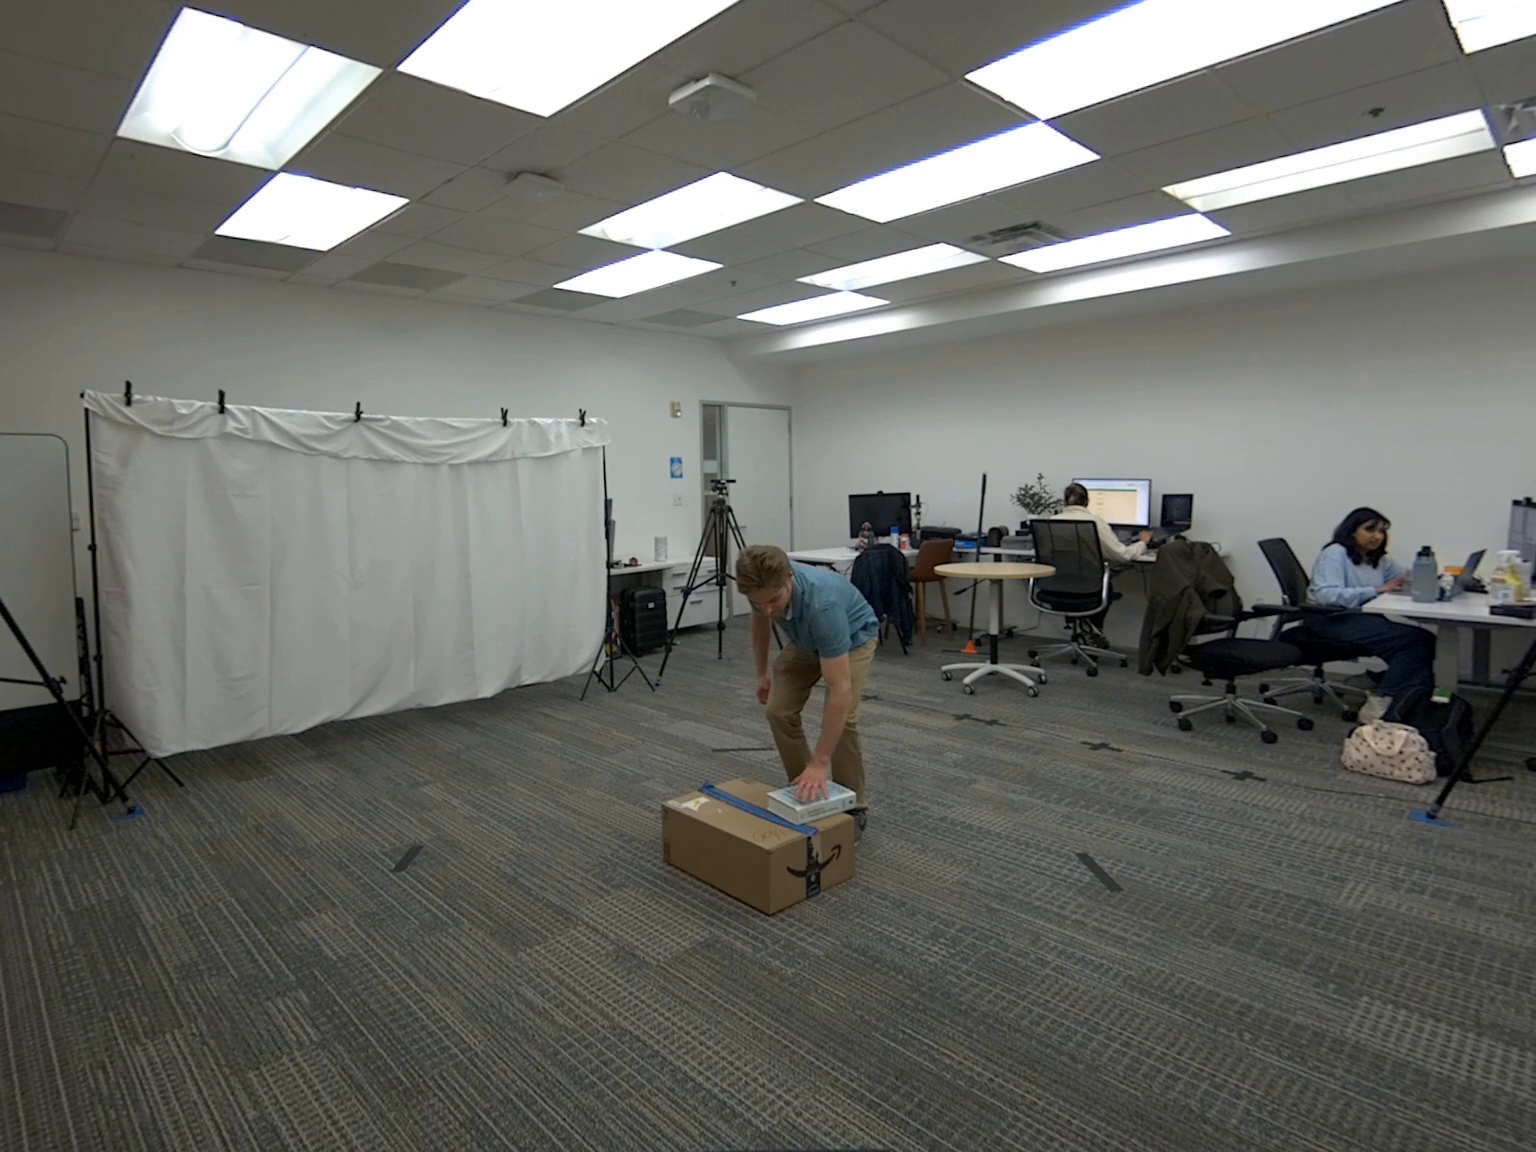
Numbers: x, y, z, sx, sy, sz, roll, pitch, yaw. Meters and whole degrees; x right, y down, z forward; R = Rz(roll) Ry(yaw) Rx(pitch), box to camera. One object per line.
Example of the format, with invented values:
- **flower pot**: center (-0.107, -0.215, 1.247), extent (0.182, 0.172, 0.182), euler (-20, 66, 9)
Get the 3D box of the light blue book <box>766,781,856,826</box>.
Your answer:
- **light blue book**: center (0.153, 0.808, 3.061), extent (0.255, 0.059, 0.197), euler (-7, 8, -34)
